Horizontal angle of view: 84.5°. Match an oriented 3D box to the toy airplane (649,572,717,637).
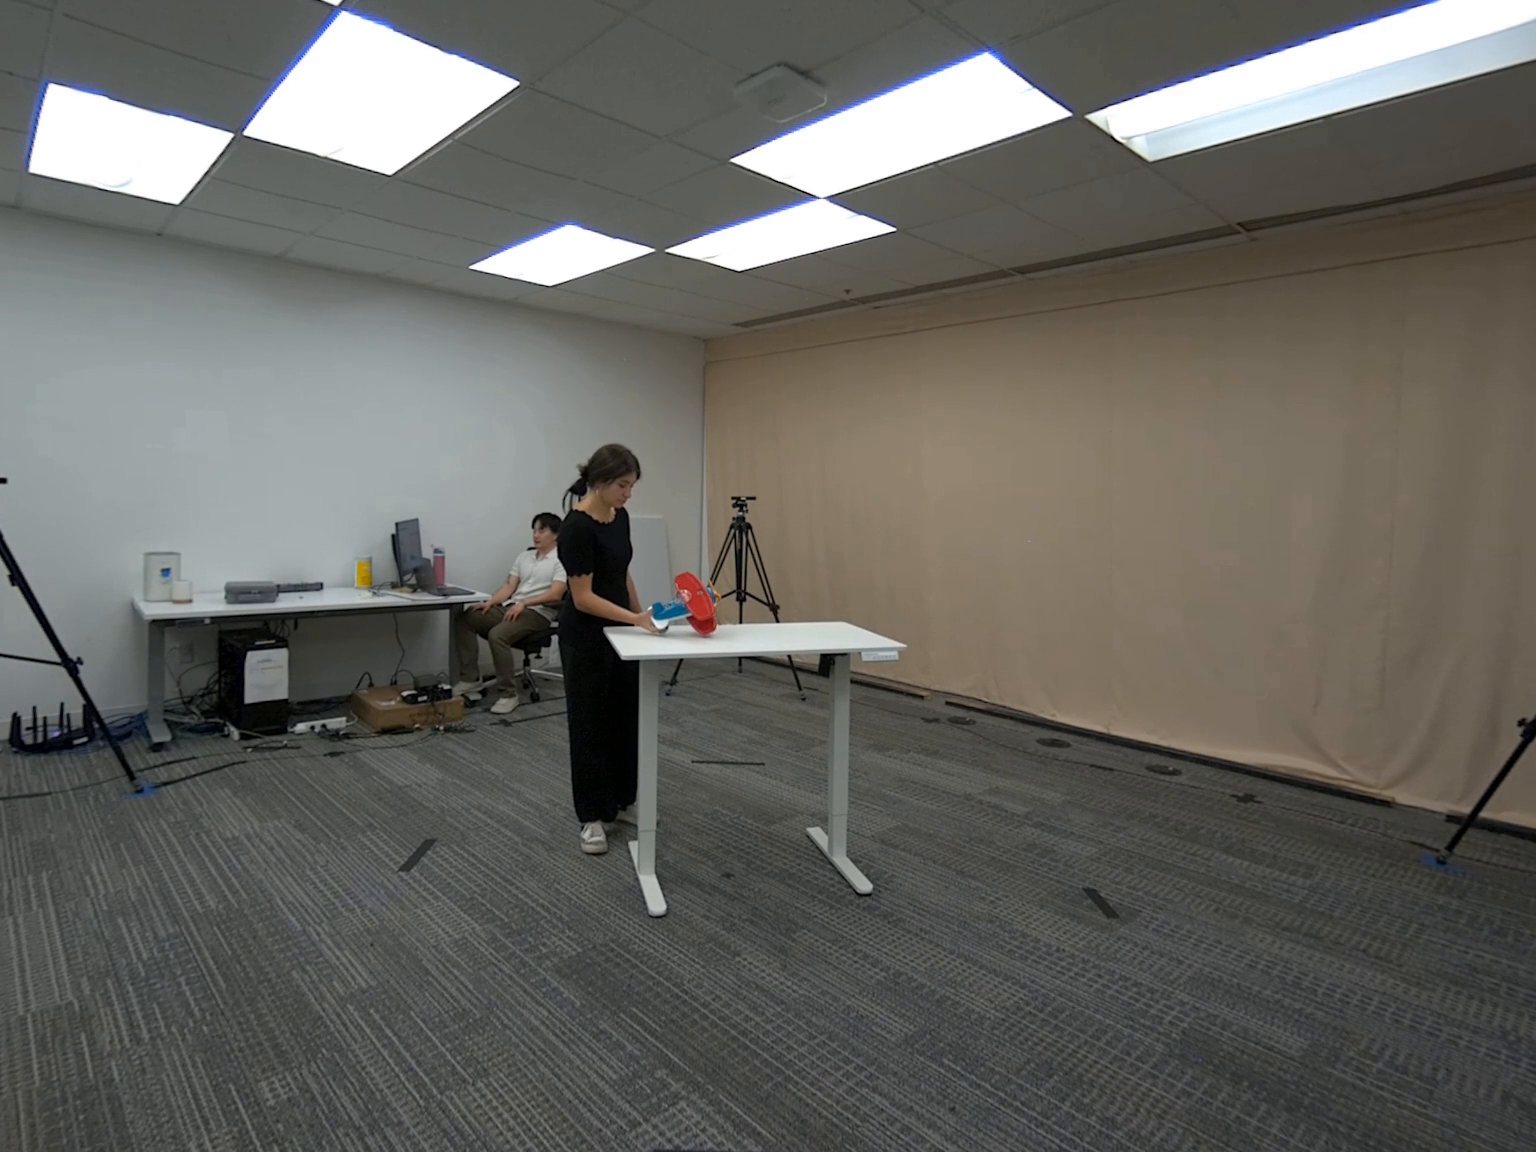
[{"bbox_3d":[-0.302,0.128,3.098,0.257,0.154,0.257,30,38,24],"label":"toy airplane"}]
